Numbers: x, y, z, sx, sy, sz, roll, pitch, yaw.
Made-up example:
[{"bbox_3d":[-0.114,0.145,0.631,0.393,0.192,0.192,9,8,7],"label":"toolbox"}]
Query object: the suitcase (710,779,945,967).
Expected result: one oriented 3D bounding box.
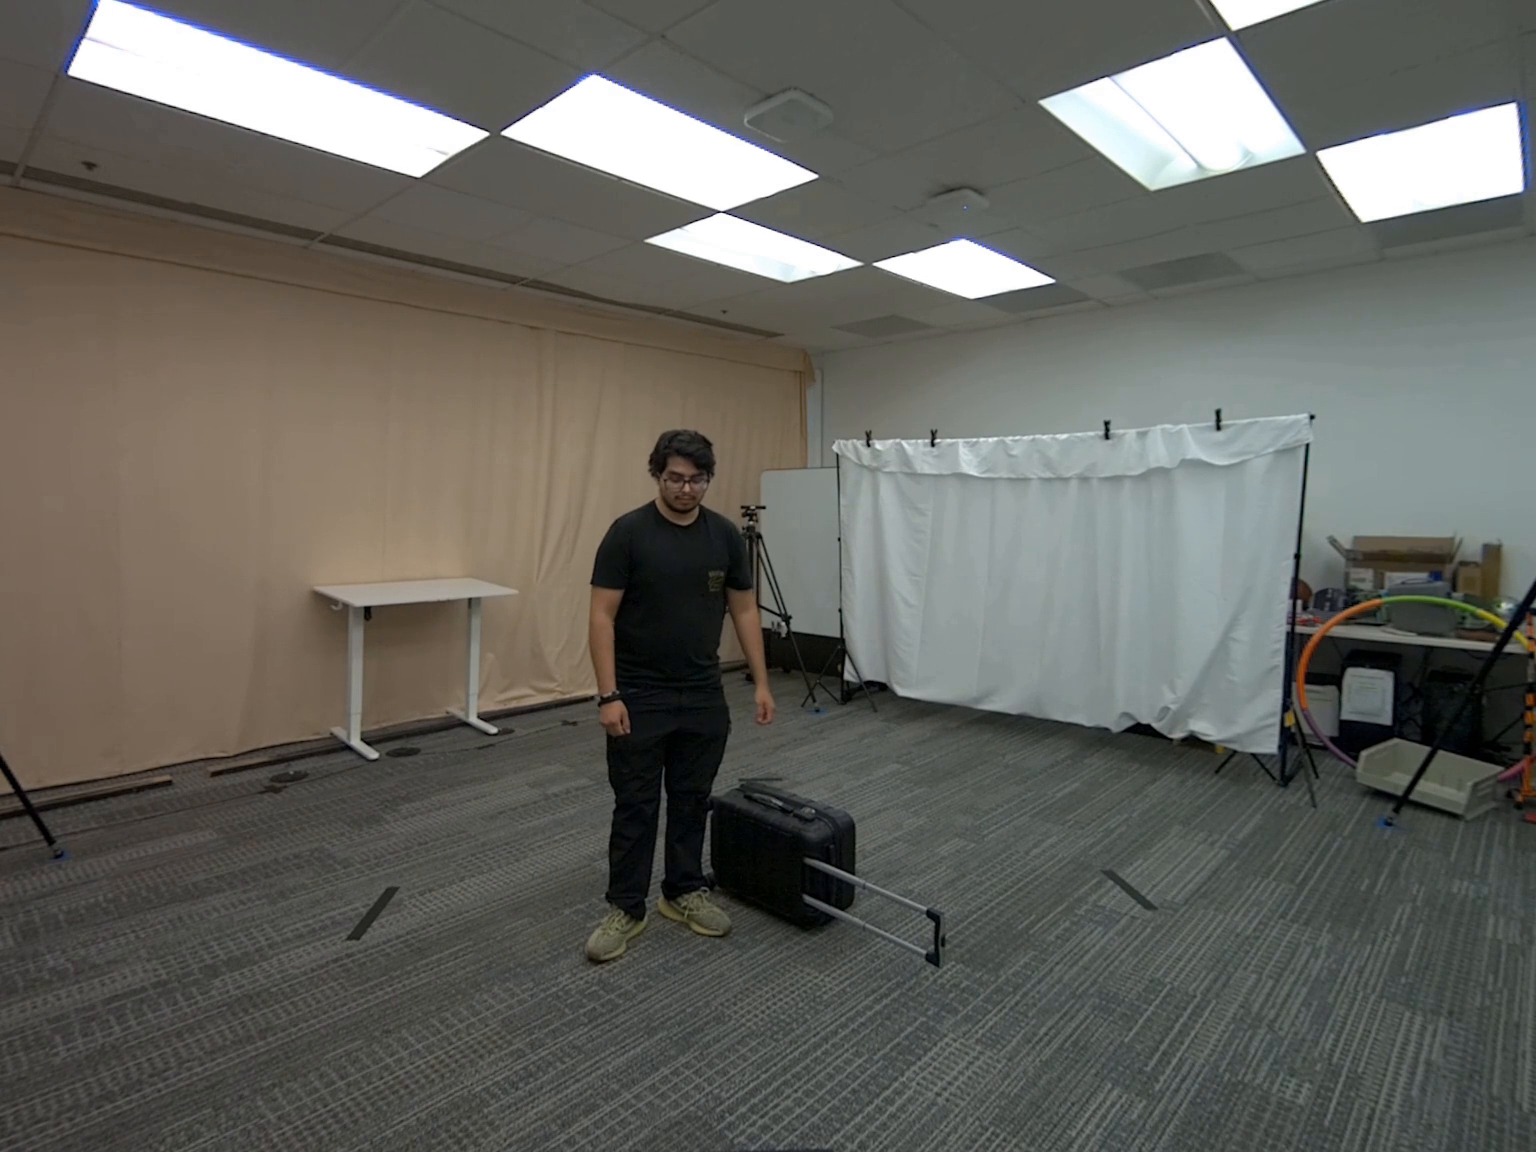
[{"bbox_3d":[0.201,0.972,2.797,1.012,0.383,0.249,5,6,43],"label":"suitcase"}]
